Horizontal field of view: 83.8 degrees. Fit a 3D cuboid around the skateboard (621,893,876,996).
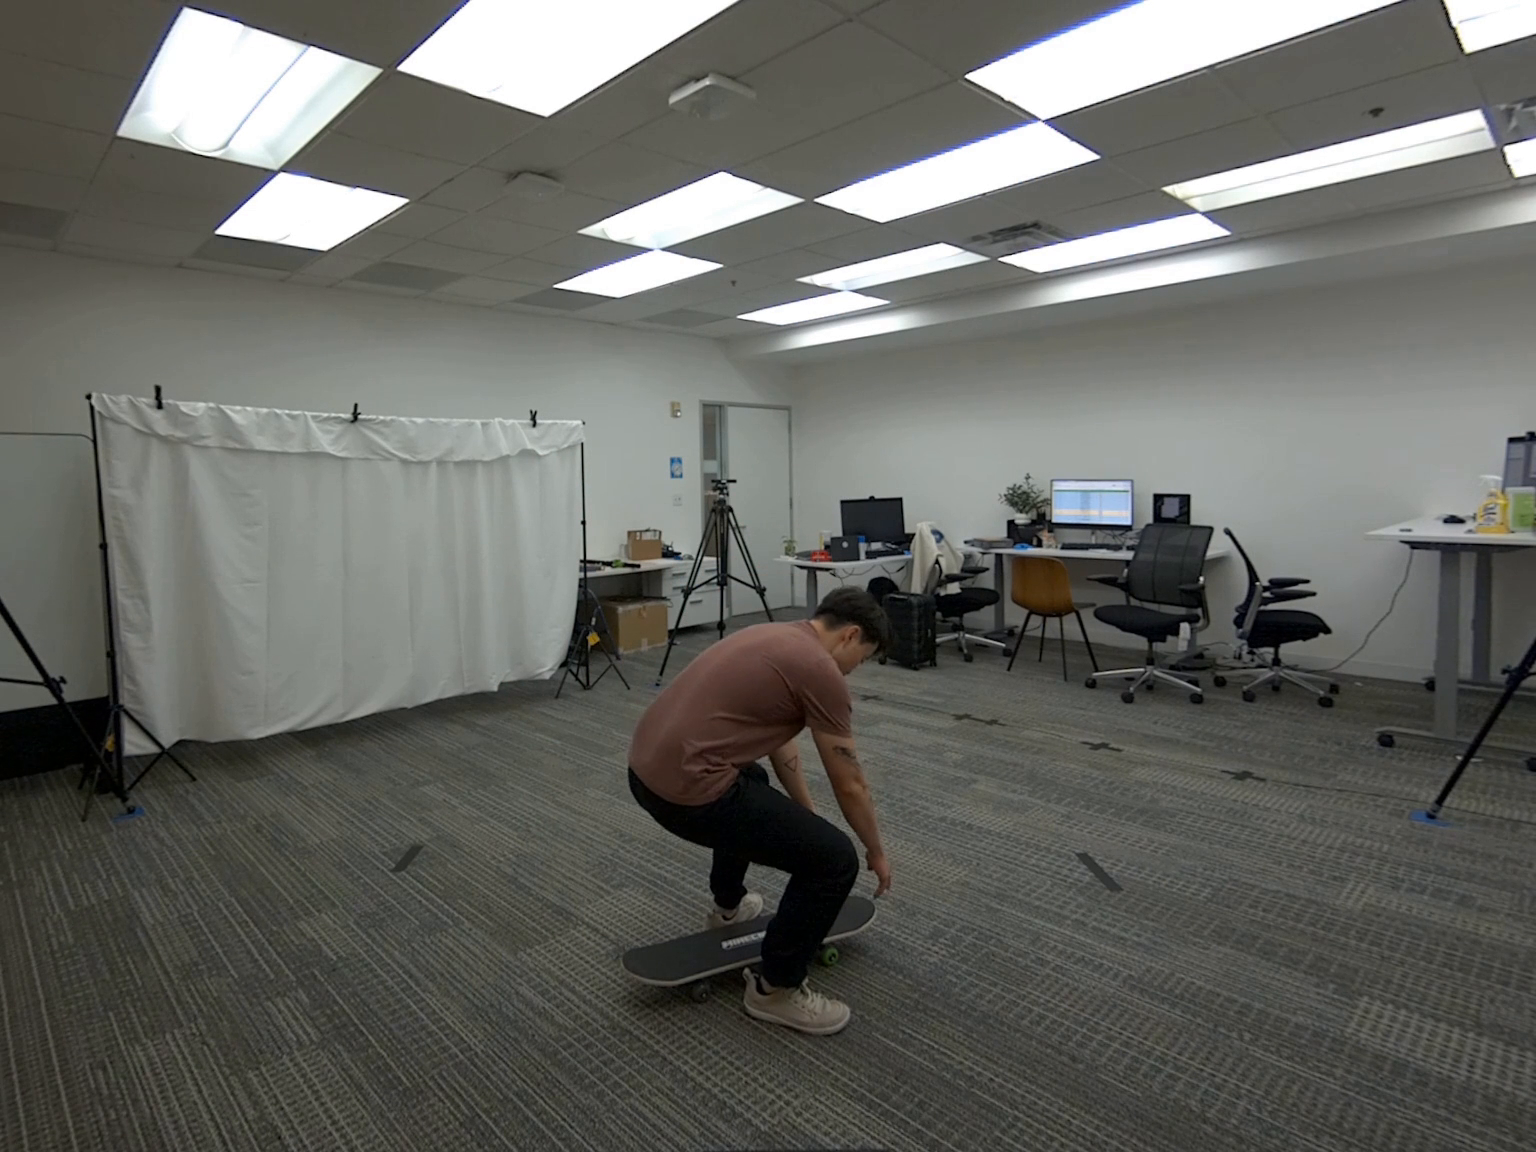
[{"bbox_3d":[-0.032,1.066,2.450,0.770,0.110,0.198,-4,7,-24],"label":"skateboard"}]
